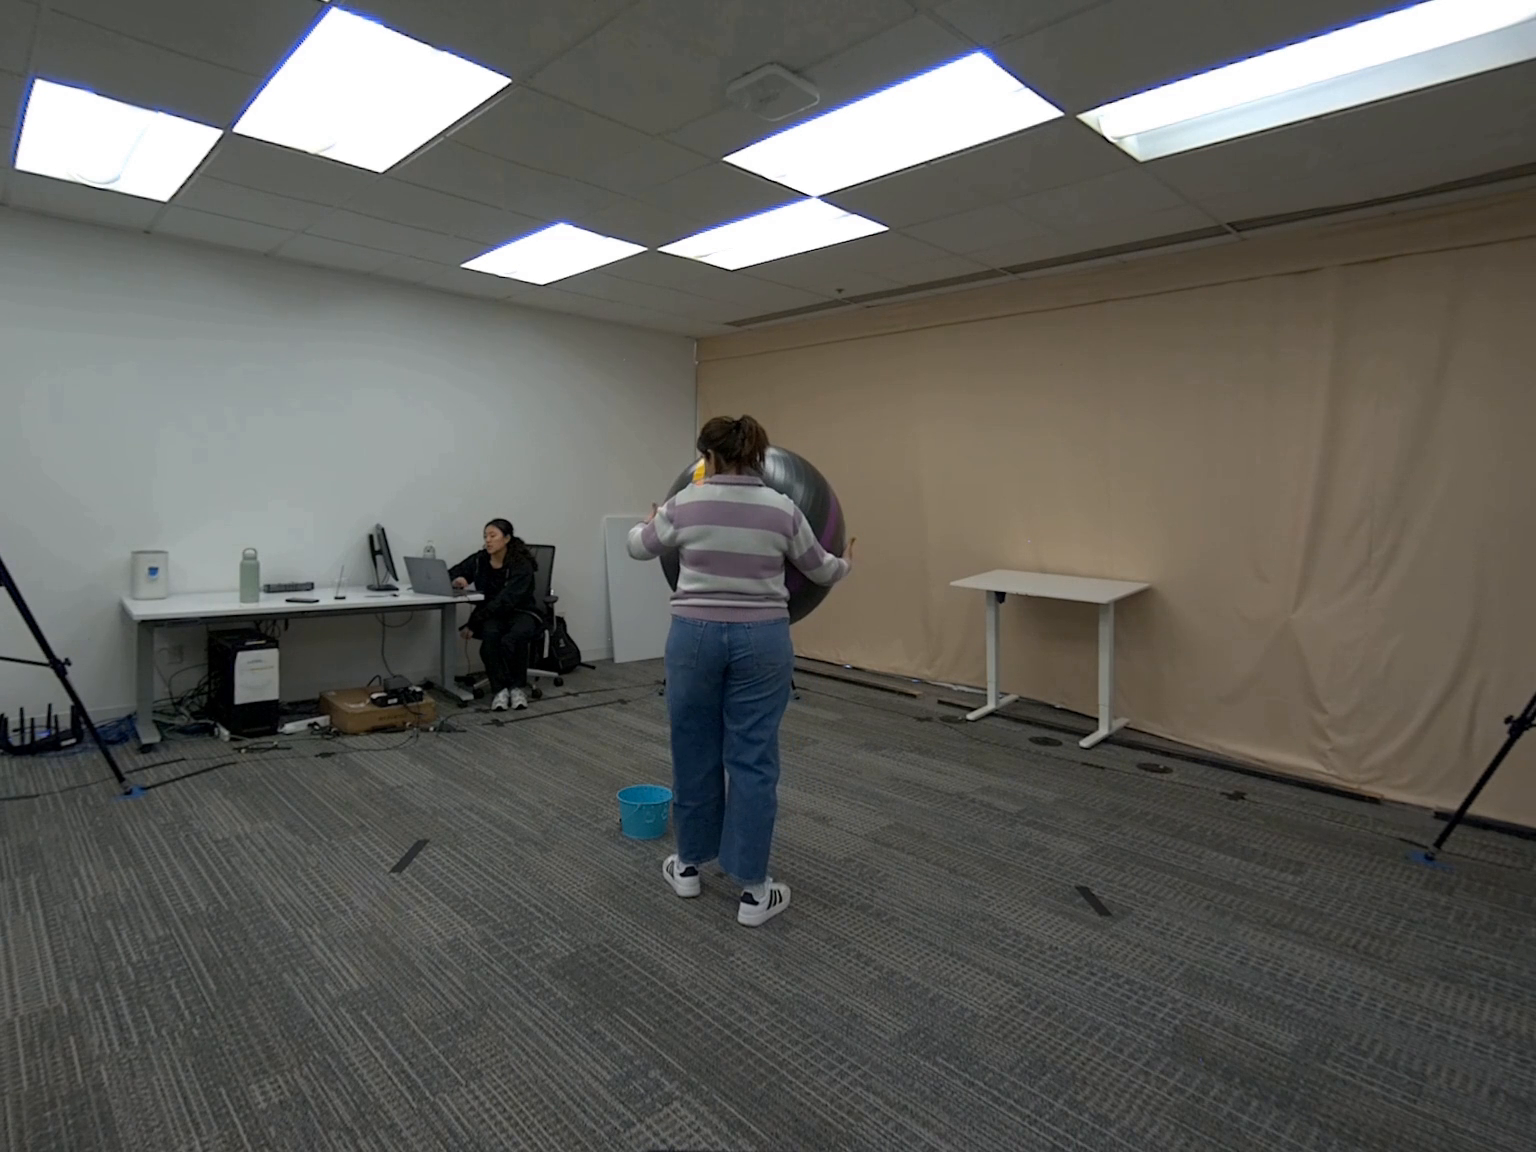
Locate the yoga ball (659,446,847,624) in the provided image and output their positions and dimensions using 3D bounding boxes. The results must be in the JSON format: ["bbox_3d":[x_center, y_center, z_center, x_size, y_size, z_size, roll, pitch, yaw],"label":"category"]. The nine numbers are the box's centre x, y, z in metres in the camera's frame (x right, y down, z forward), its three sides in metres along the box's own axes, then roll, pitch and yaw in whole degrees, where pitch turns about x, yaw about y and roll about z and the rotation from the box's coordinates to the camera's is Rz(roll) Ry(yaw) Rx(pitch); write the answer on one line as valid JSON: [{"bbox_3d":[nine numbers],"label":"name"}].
[{"bbox_3d":[-0.066,-0.146,3.373,0.757,0.756,0.761,1,4,-1],"label":"yoga ball"}]
